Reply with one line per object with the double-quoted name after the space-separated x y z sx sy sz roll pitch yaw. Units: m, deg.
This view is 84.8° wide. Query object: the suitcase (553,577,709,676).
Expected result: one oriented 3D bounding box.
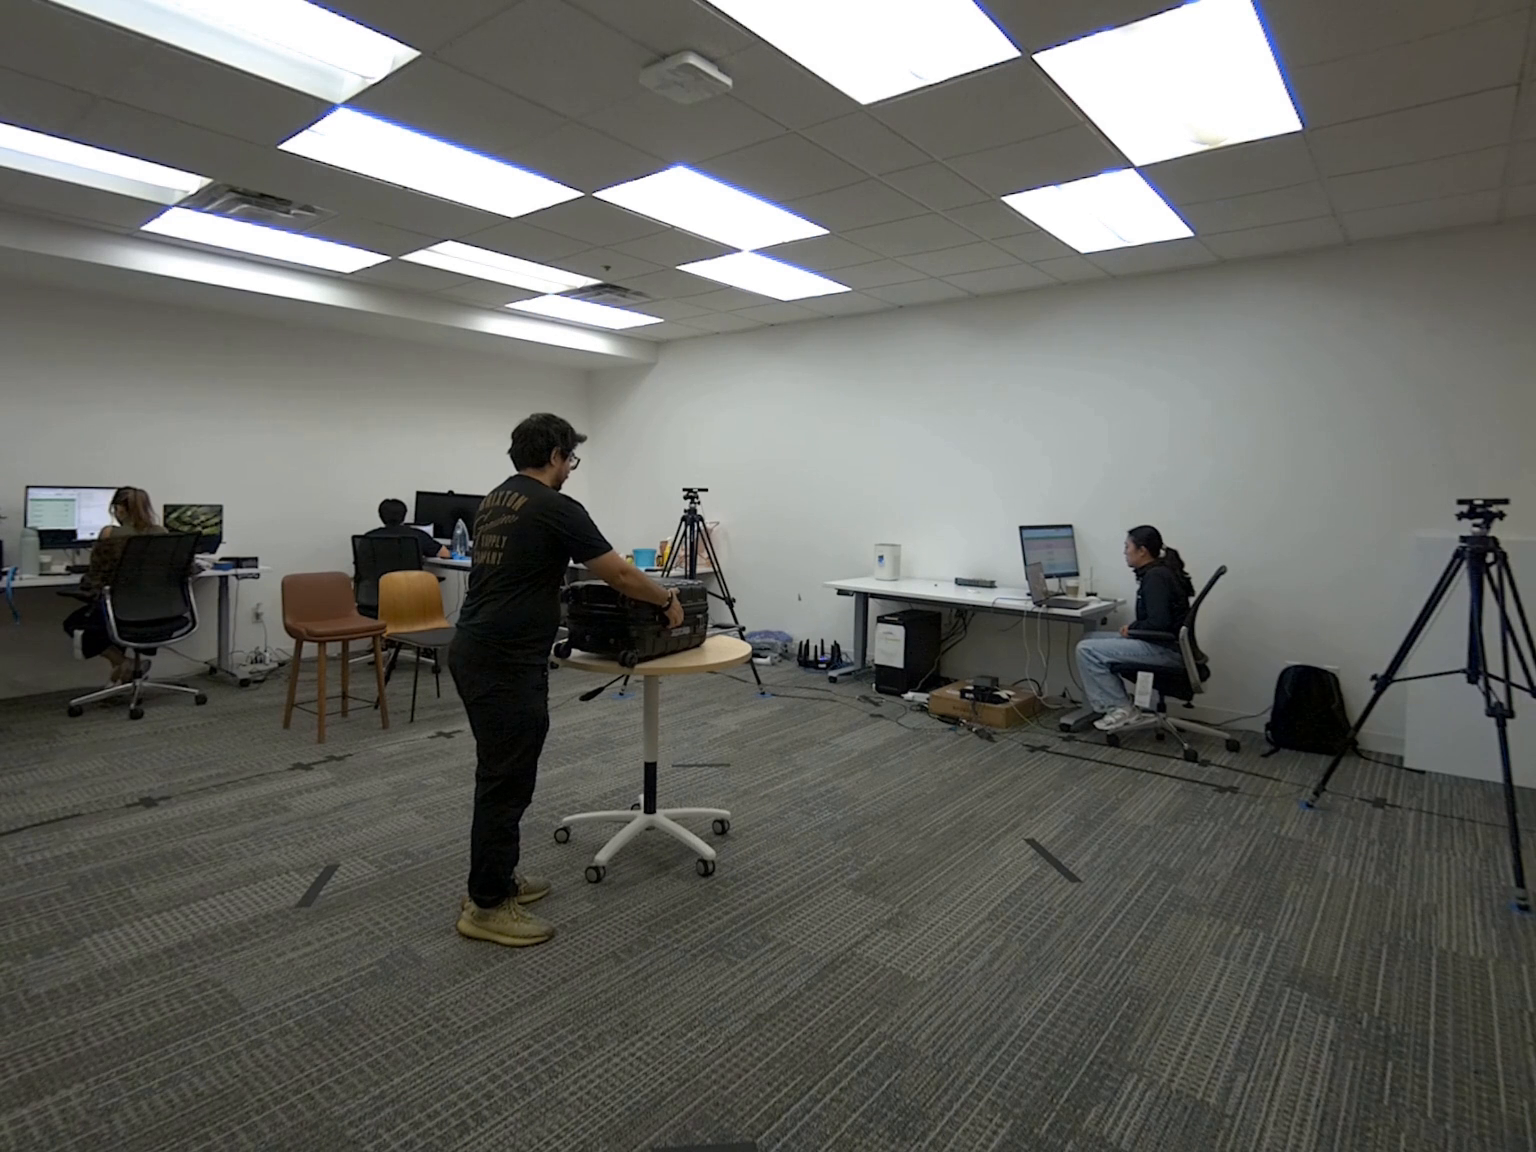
-0.396 0.128 3.335 0.394 0.256 0.956 1 6 27 "suitcase"
